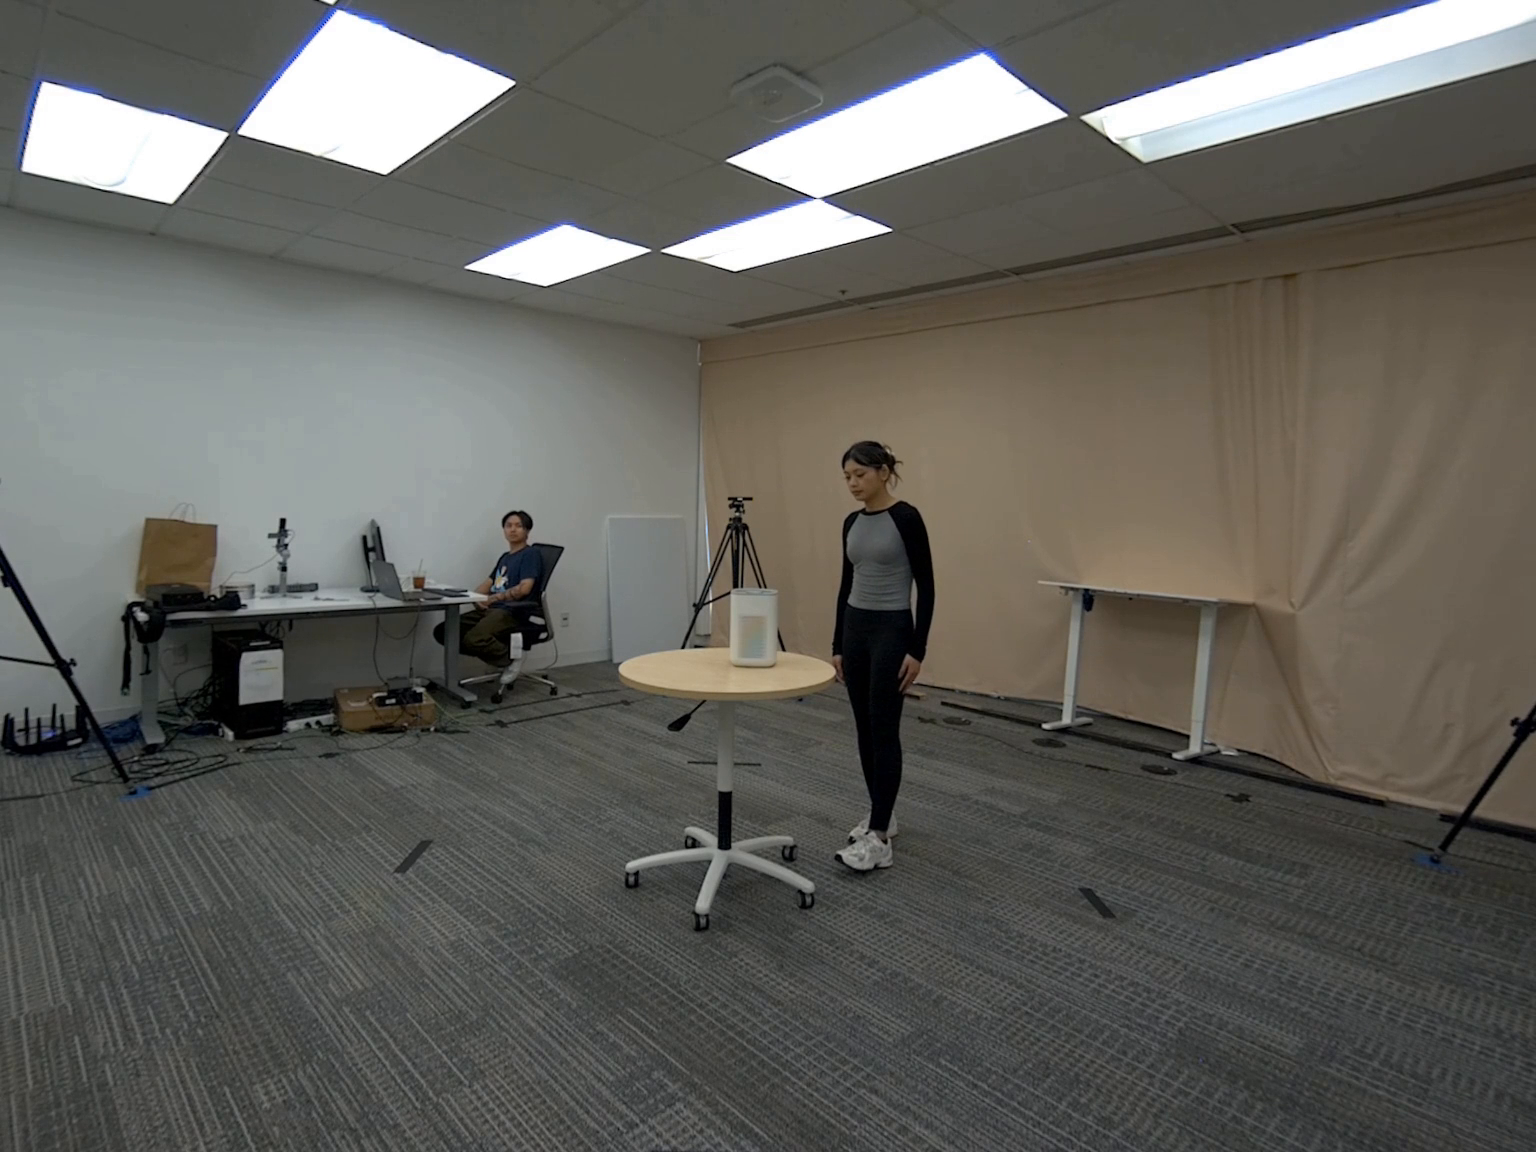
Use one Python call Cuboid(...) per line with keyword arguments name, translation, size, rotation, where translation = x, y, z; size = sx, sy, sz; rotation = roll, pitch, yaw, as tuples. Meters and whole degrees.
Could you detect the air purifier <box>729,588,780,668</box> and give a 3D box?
Cuboid(name="air purifier", translation=(-0.061, 0.186, 3.045), size=(0.172, 0.264, 0.171), rotation=(2, 4, 2))
